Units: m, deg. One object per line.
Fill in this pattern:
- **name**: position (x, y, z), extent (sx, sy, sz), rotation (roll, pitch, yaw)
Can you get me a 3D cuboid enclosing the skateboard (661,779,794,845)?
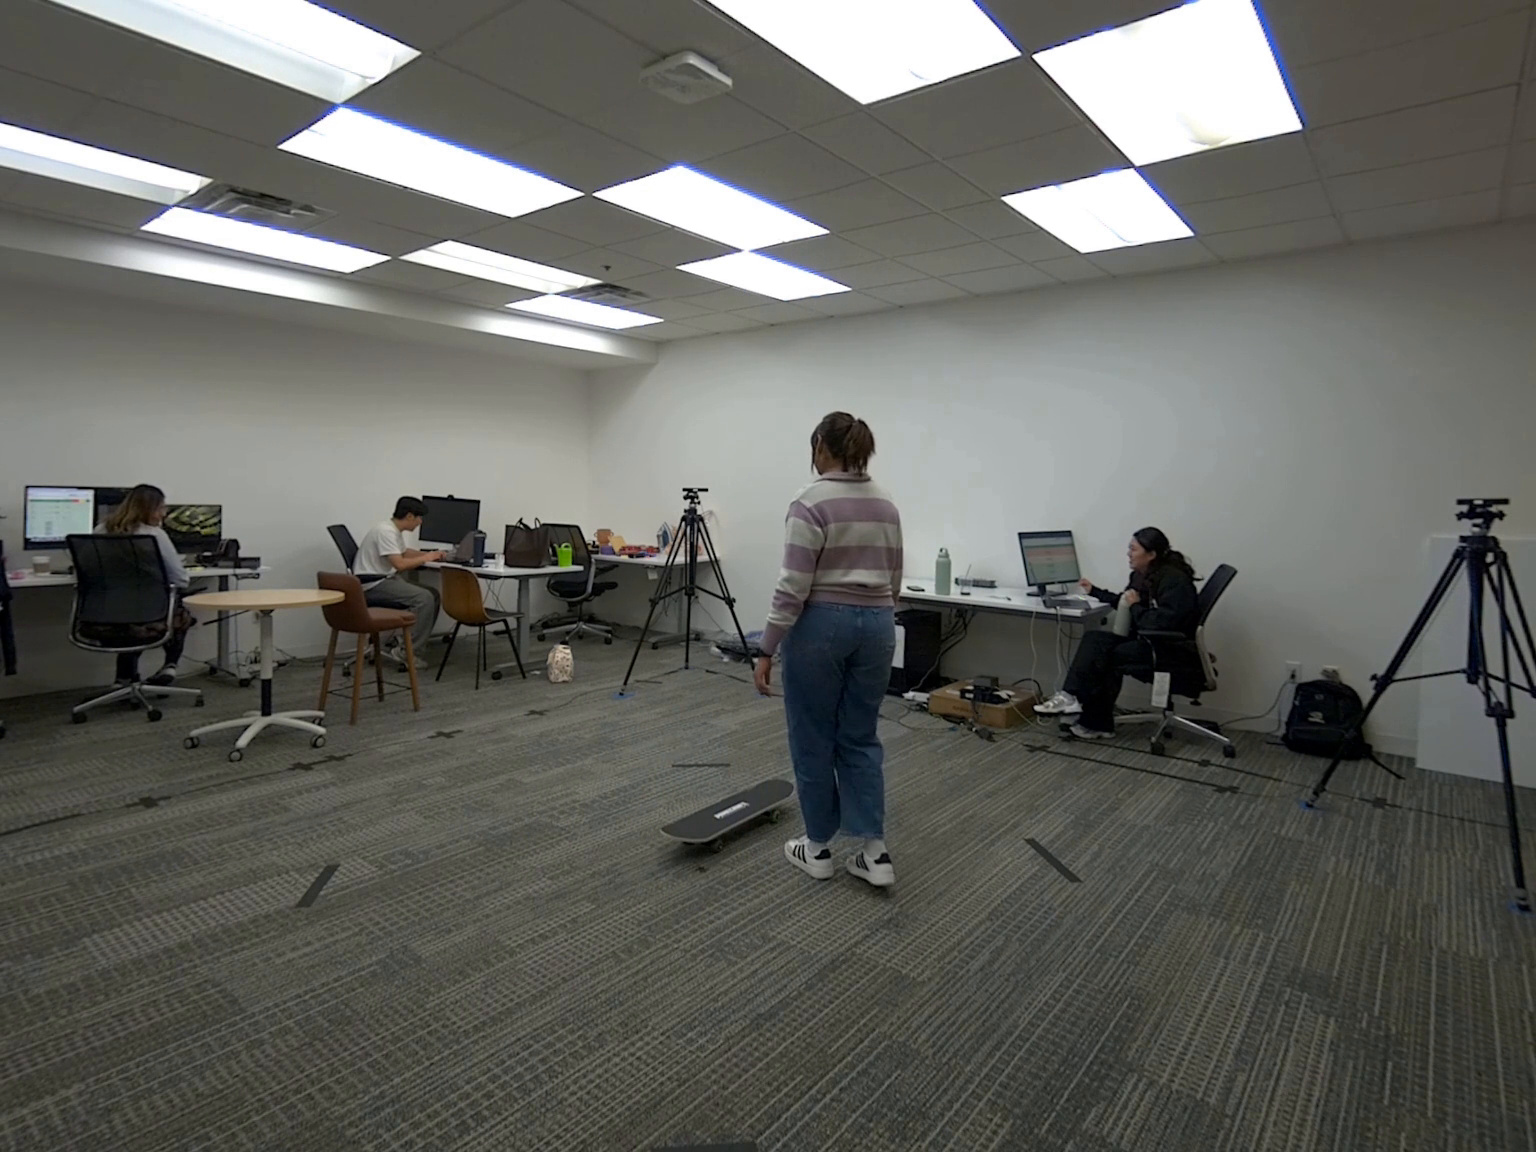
- **skateboard**: position (-0.154, 0.981, 3.456), extent (0.200, 0.110, 0.763), rotation (6, 7, 35)
